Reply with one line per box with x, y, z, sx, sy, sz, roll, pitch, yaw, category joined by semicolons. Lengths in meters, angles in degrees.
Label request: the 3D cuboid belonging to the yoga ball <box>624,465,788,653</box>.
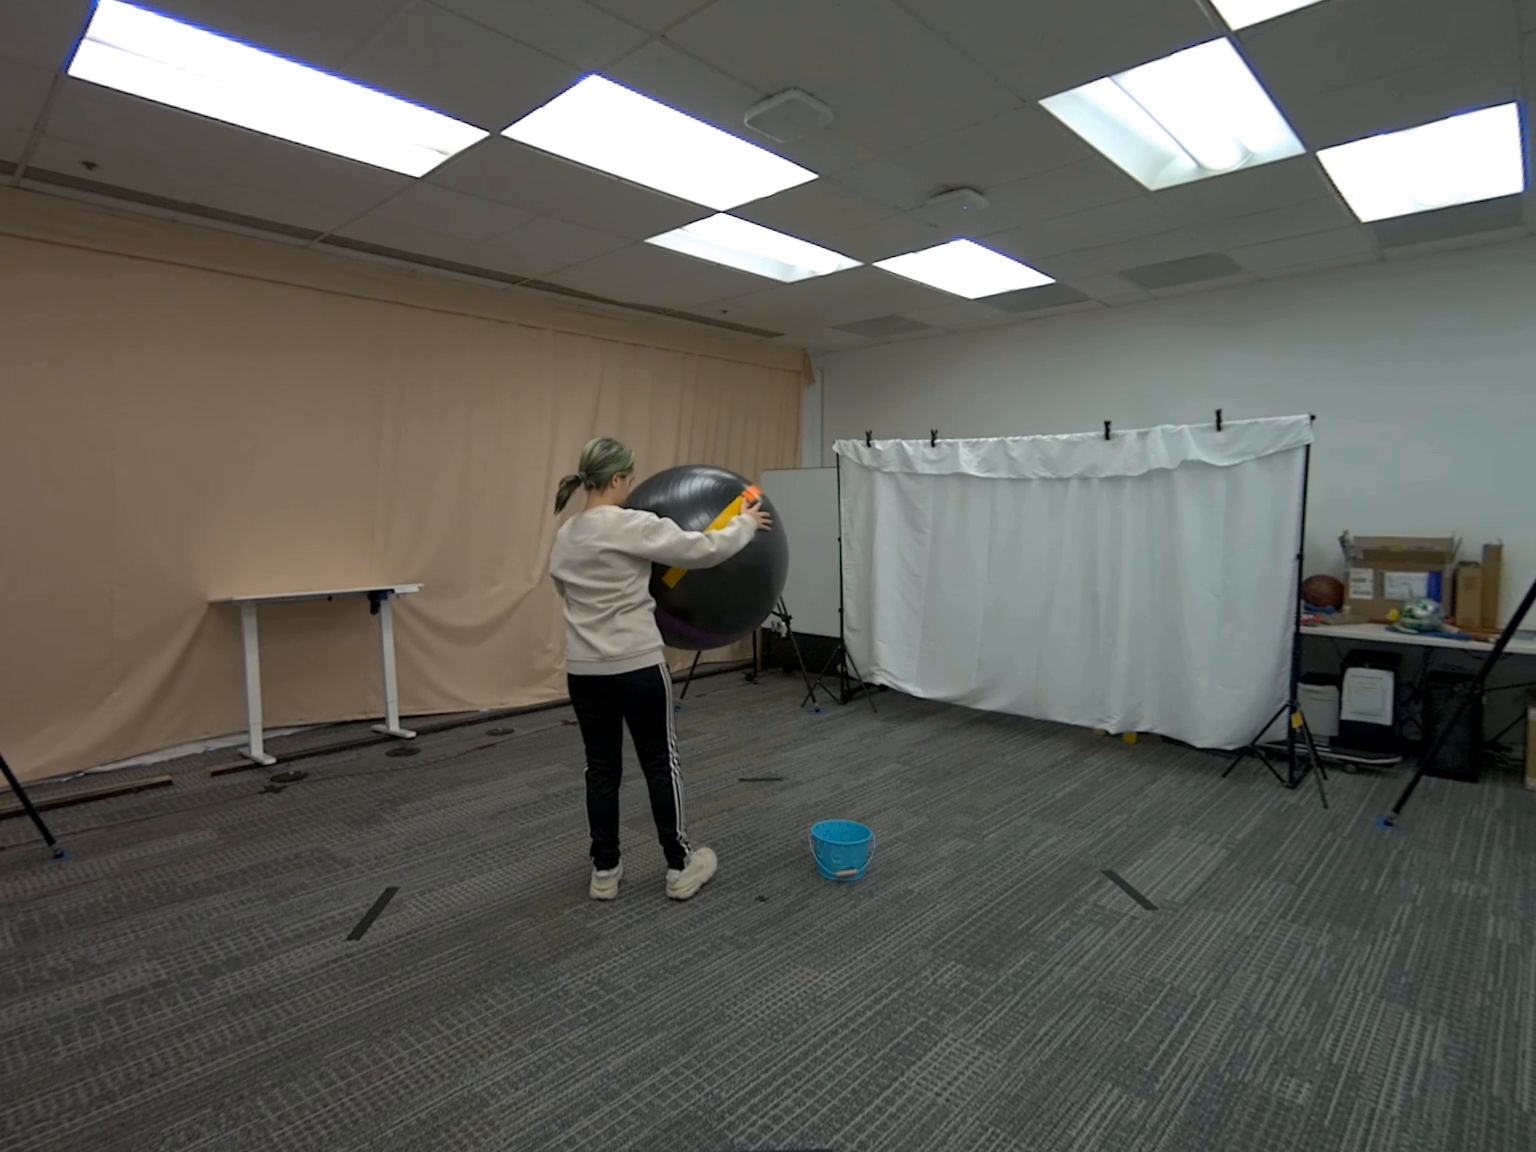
-0.293;-0.072;3.456;0.757;0.756;0.761;0;4;-2;yoga ball
